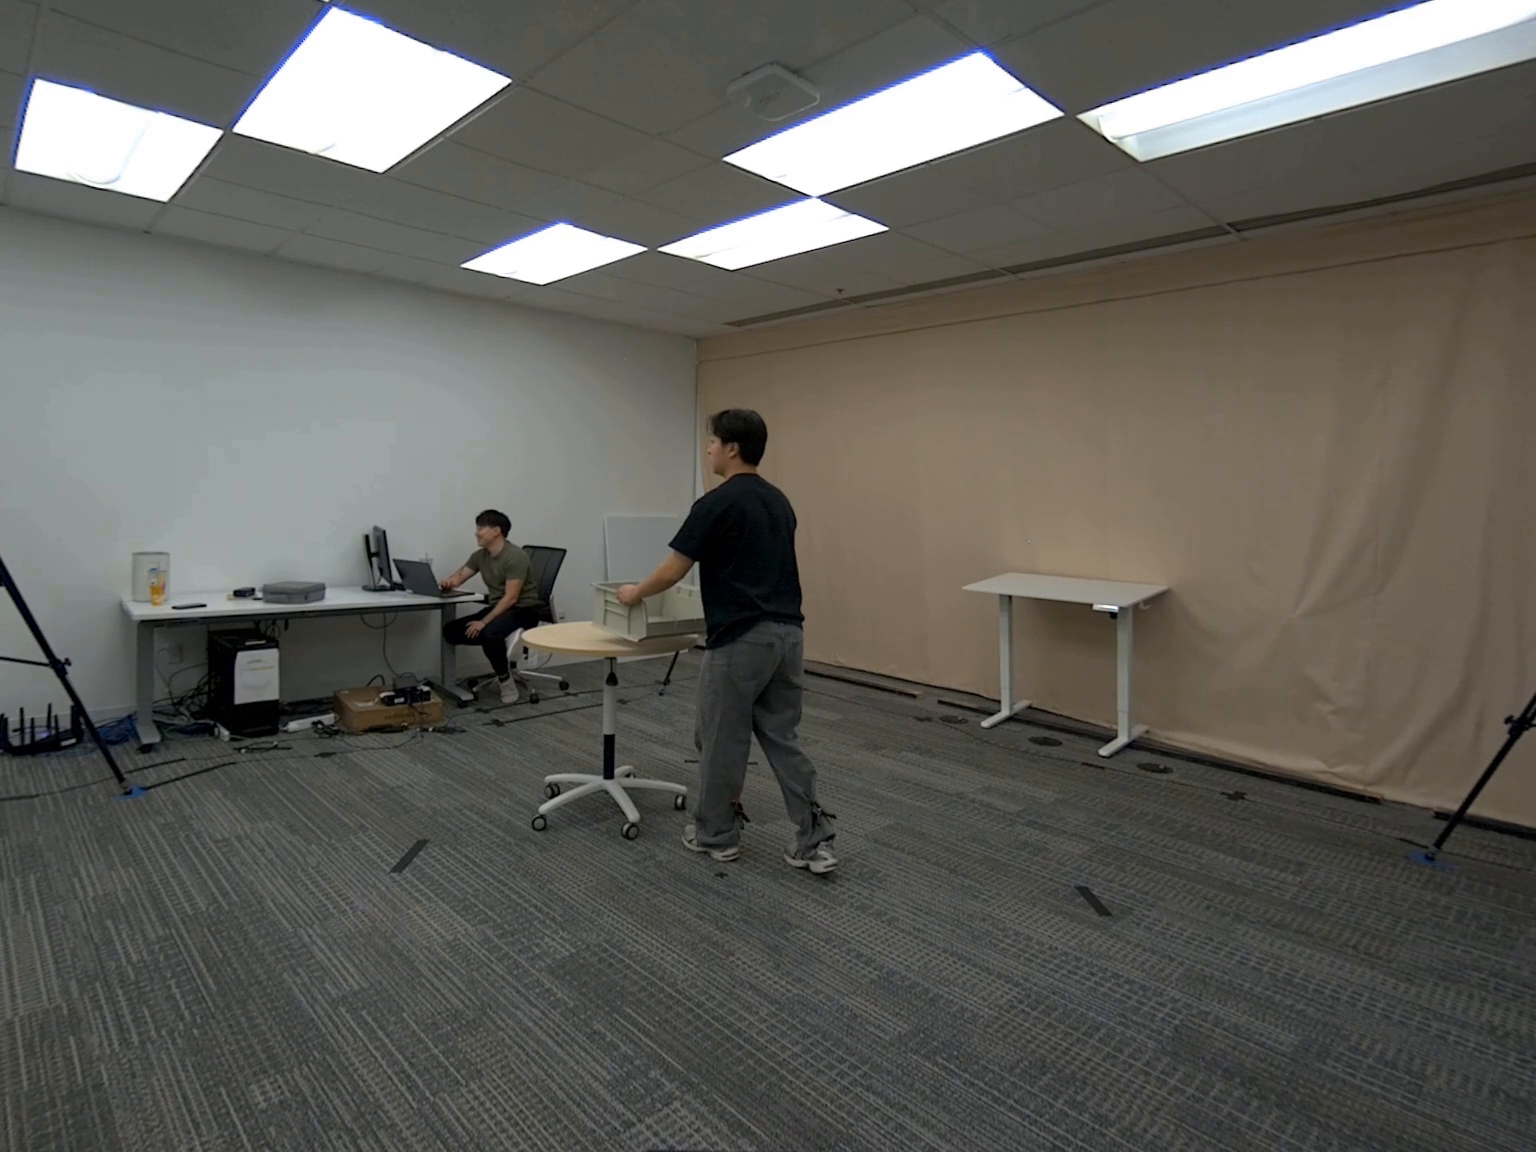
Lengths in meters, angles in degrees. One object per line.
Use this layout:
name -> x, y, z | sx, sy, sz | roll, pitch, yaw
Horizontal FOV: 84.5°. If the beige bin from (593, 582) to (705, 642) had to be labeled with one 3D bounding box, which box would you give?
beige bin -> -0.467, 0.147, 3.531 | 0.387, 0.188, 0.413 | 9, 9, 44
